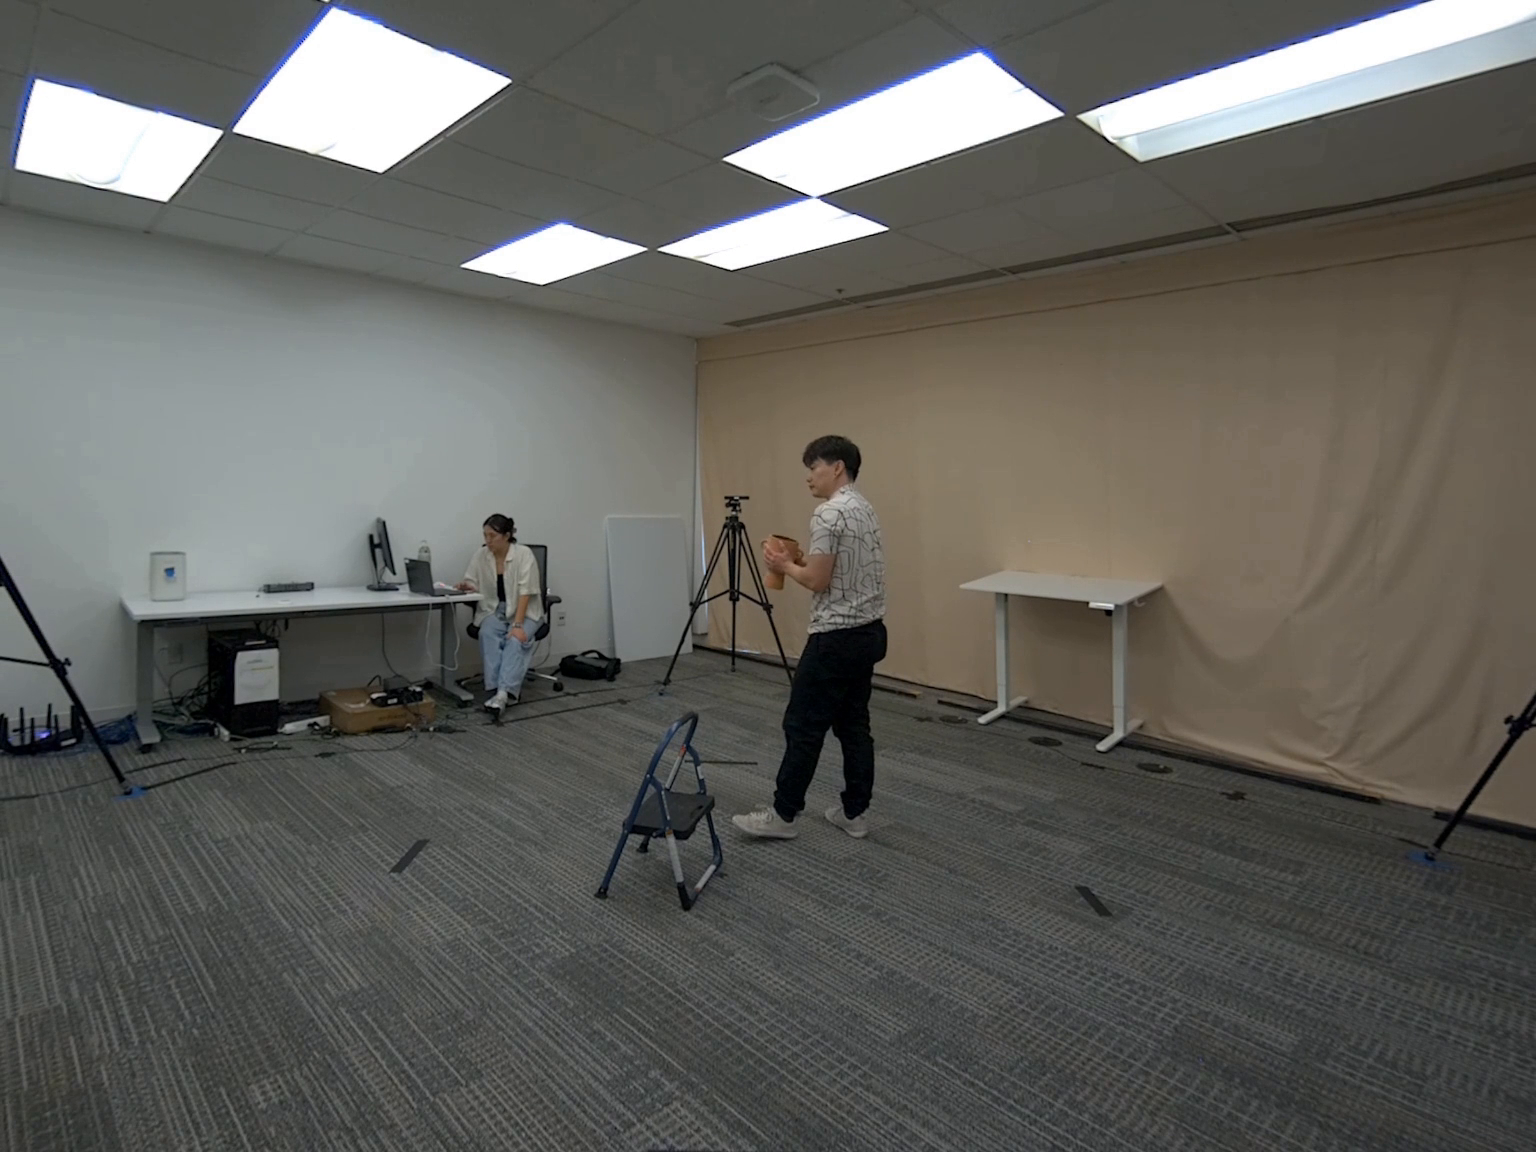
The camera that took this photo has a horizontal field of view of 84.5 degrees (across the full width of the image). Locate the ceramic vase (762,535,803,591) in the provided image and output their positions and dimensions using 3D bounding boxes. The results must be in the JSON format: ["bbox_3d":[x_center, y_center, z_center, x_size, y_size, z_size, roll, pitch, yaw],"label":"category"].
[{"bbox_3d":[0.043,-0.059,3.673,0.131,0.219,0.163,5,11,-37],"label":"ceramic vase"}]
